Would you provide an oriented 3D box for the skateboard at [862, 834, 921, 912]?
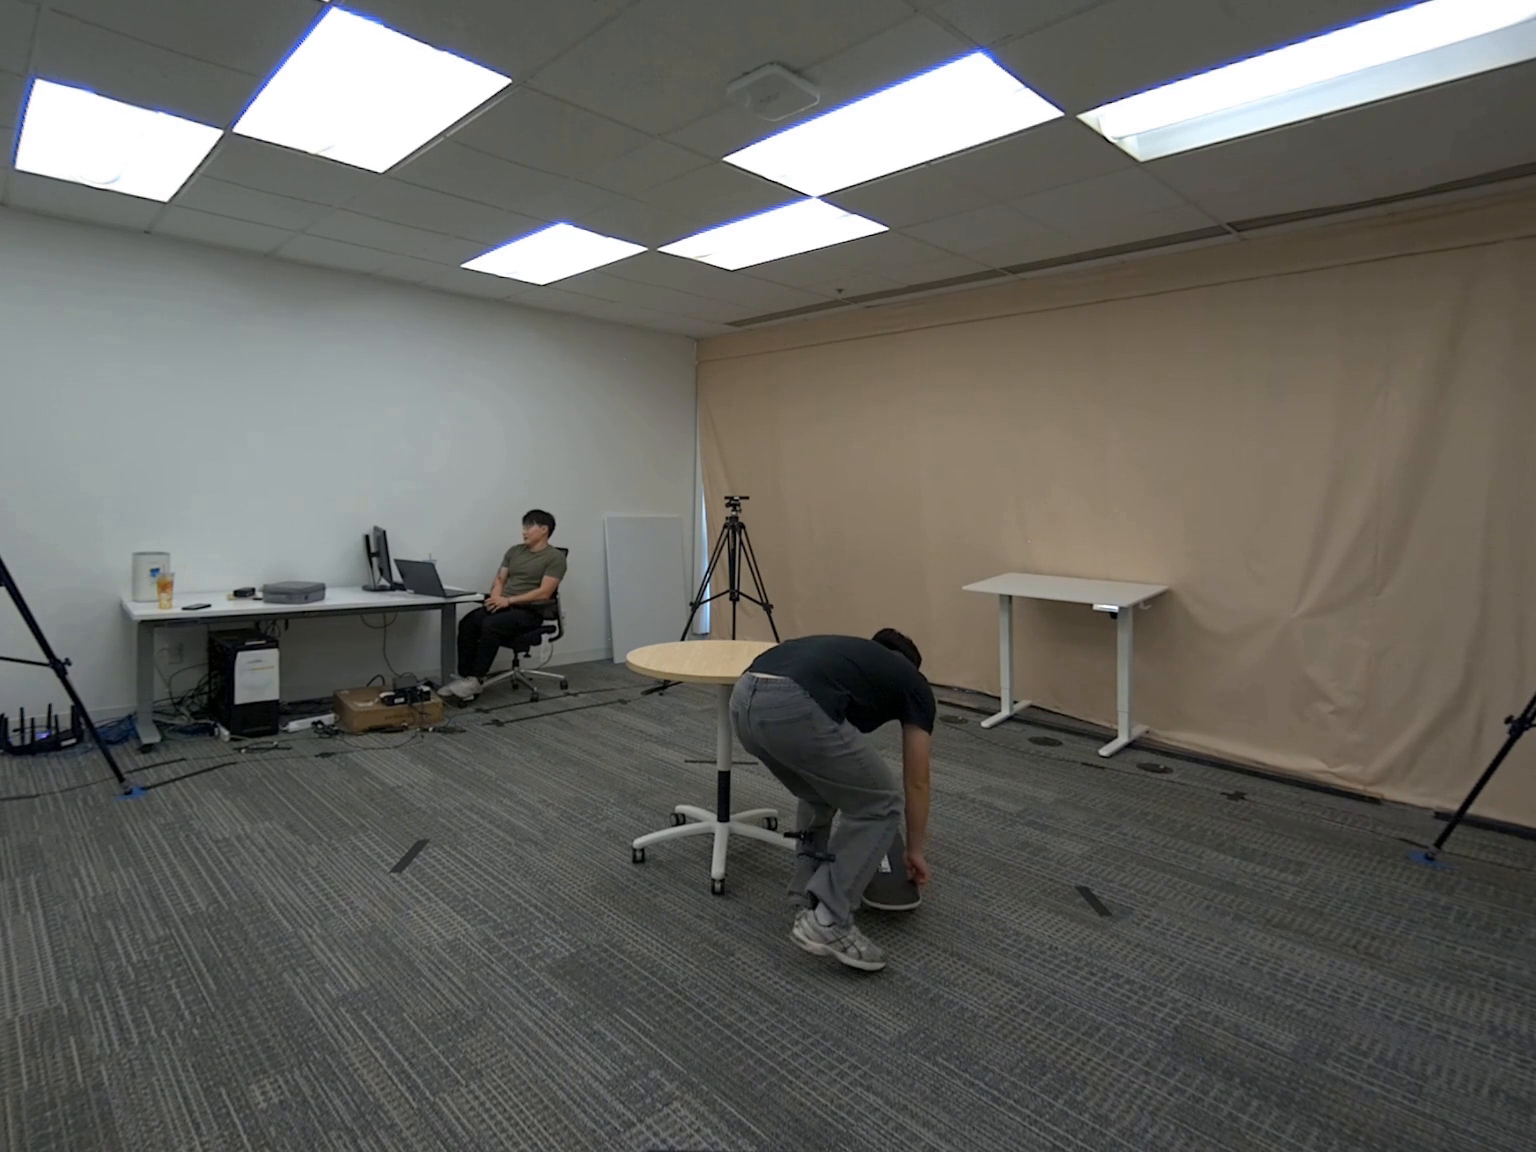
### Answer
[{"bbox_3d":[0.405,1.058,3.048,0.194,0.110,0.785,-1,5,2],"label":"skateboard"}]
